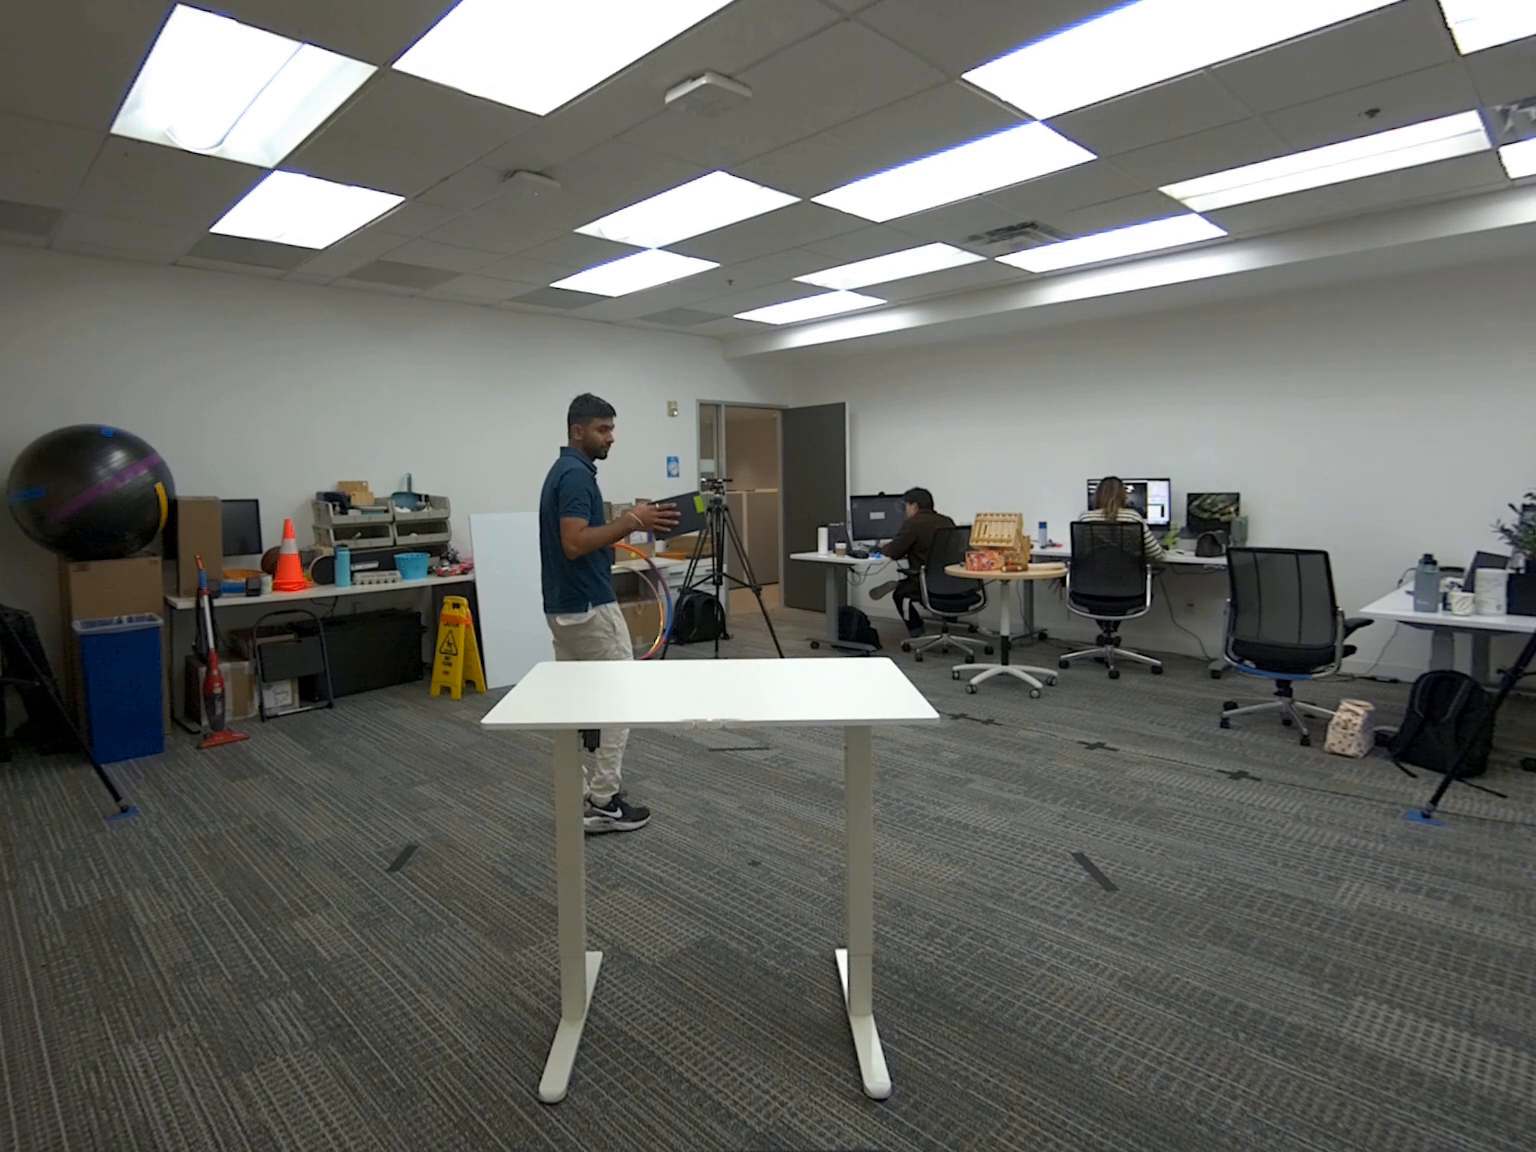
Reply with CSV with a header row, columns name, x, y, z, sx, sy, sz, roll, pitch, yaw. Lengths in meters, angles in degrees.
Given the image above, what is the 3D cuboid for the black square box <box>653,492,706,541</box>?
name,x,y,z,sx,sy,sz,roll,pitch,yaw
black square box,-0.361,-0.249,3.468,0.217,0.155,0.229,-12,4,-2
